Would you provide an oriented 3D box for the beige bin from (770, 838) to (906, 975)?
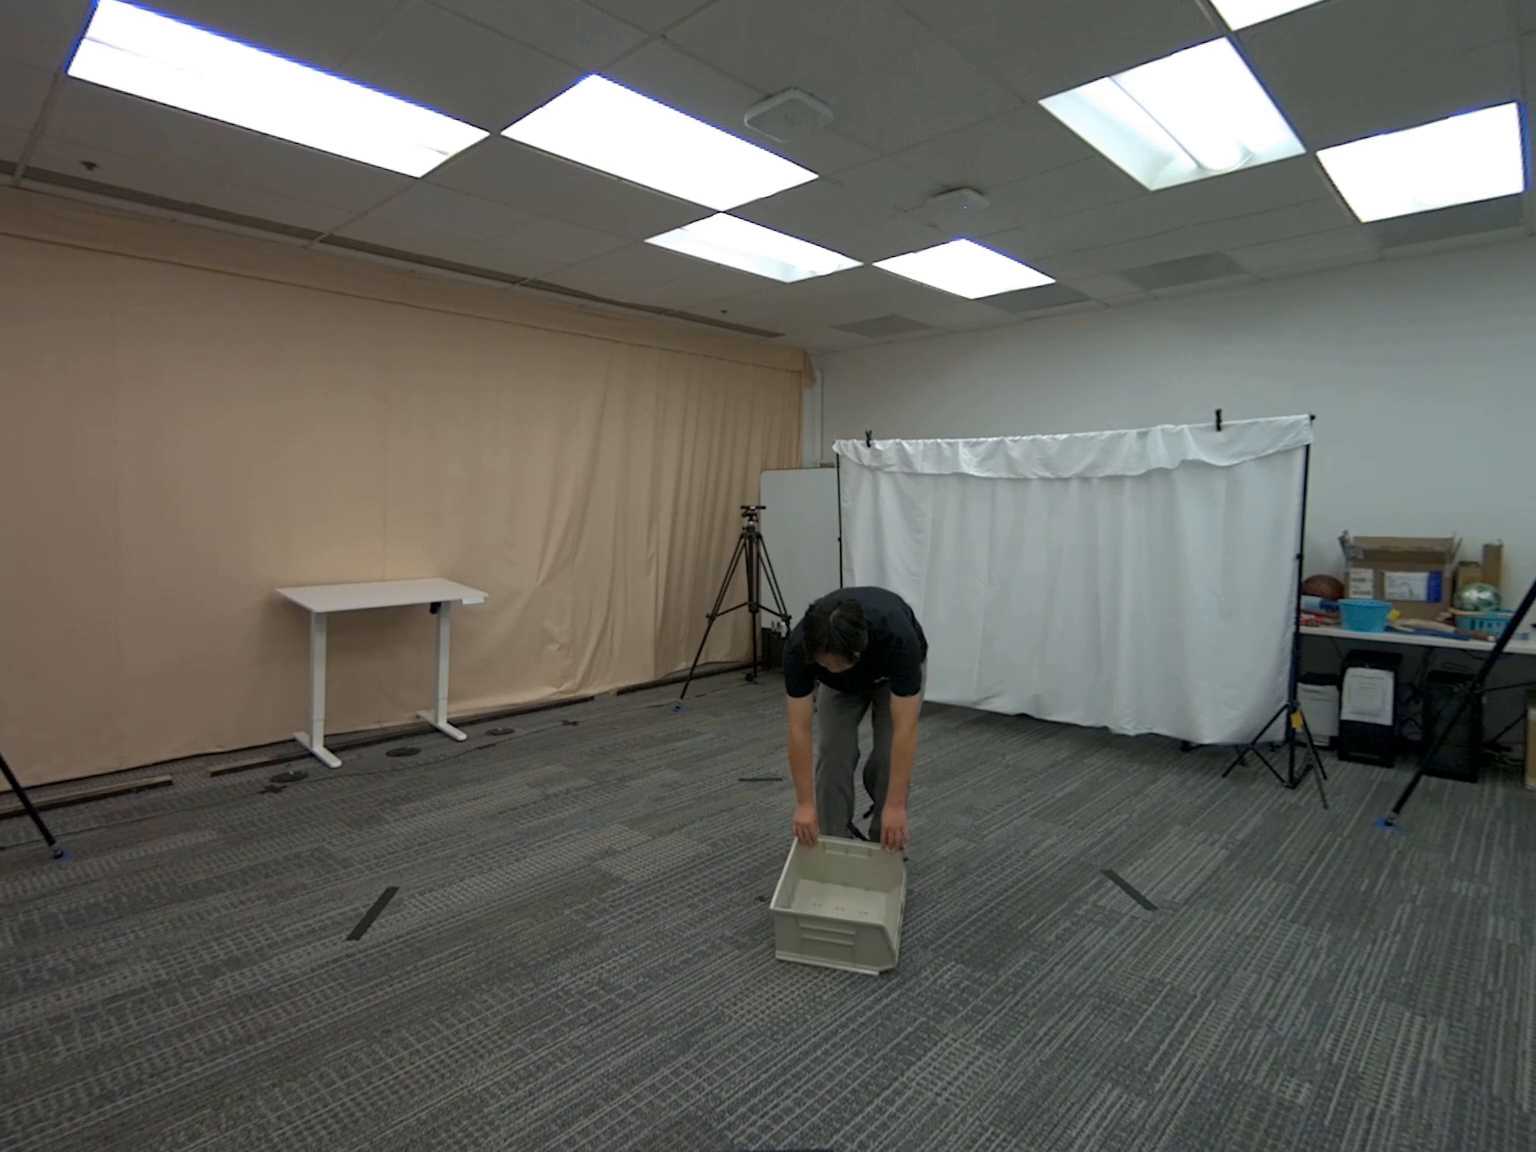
[{"bbox_3d":[0.244,1.038,2.697,0.384,0.187,0.419,0,15,15],"label":"beige bin"}]
